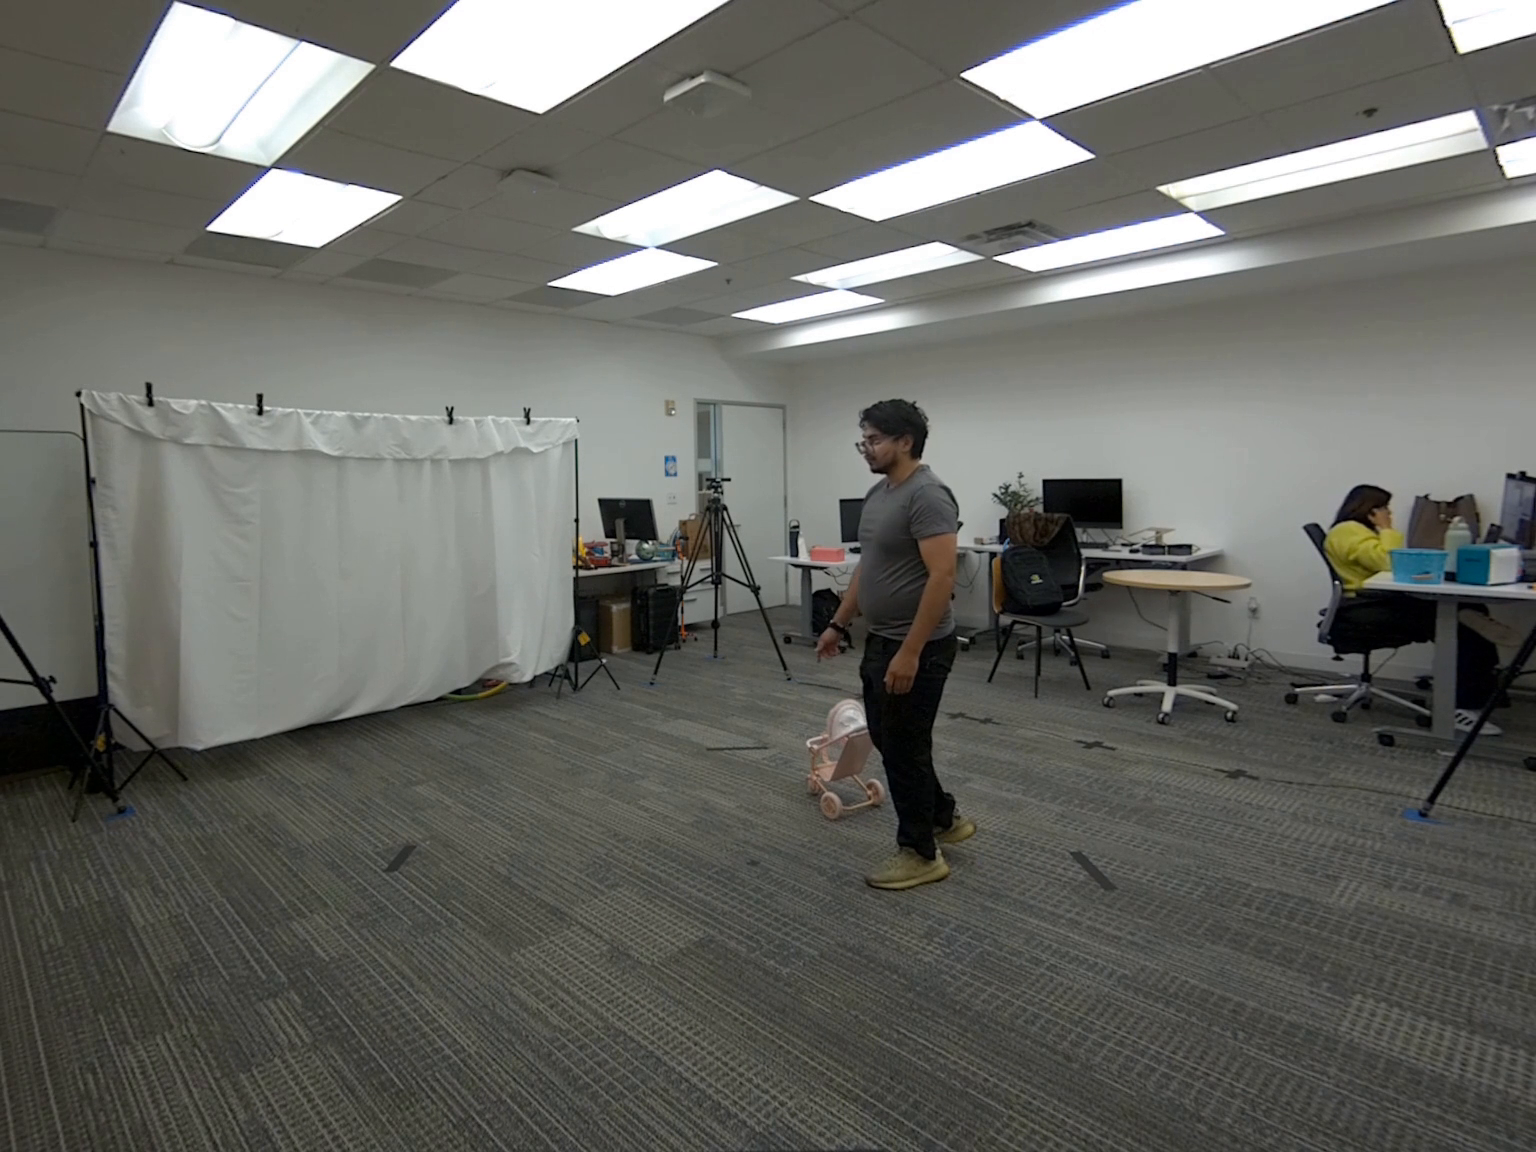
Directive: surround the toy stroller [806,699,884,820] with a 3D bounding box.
[{"bbox_3d":[0.321,0.754,3.603,0.274,0.528,0.354,-3,21,-33],"label":"toy stroller"}]
